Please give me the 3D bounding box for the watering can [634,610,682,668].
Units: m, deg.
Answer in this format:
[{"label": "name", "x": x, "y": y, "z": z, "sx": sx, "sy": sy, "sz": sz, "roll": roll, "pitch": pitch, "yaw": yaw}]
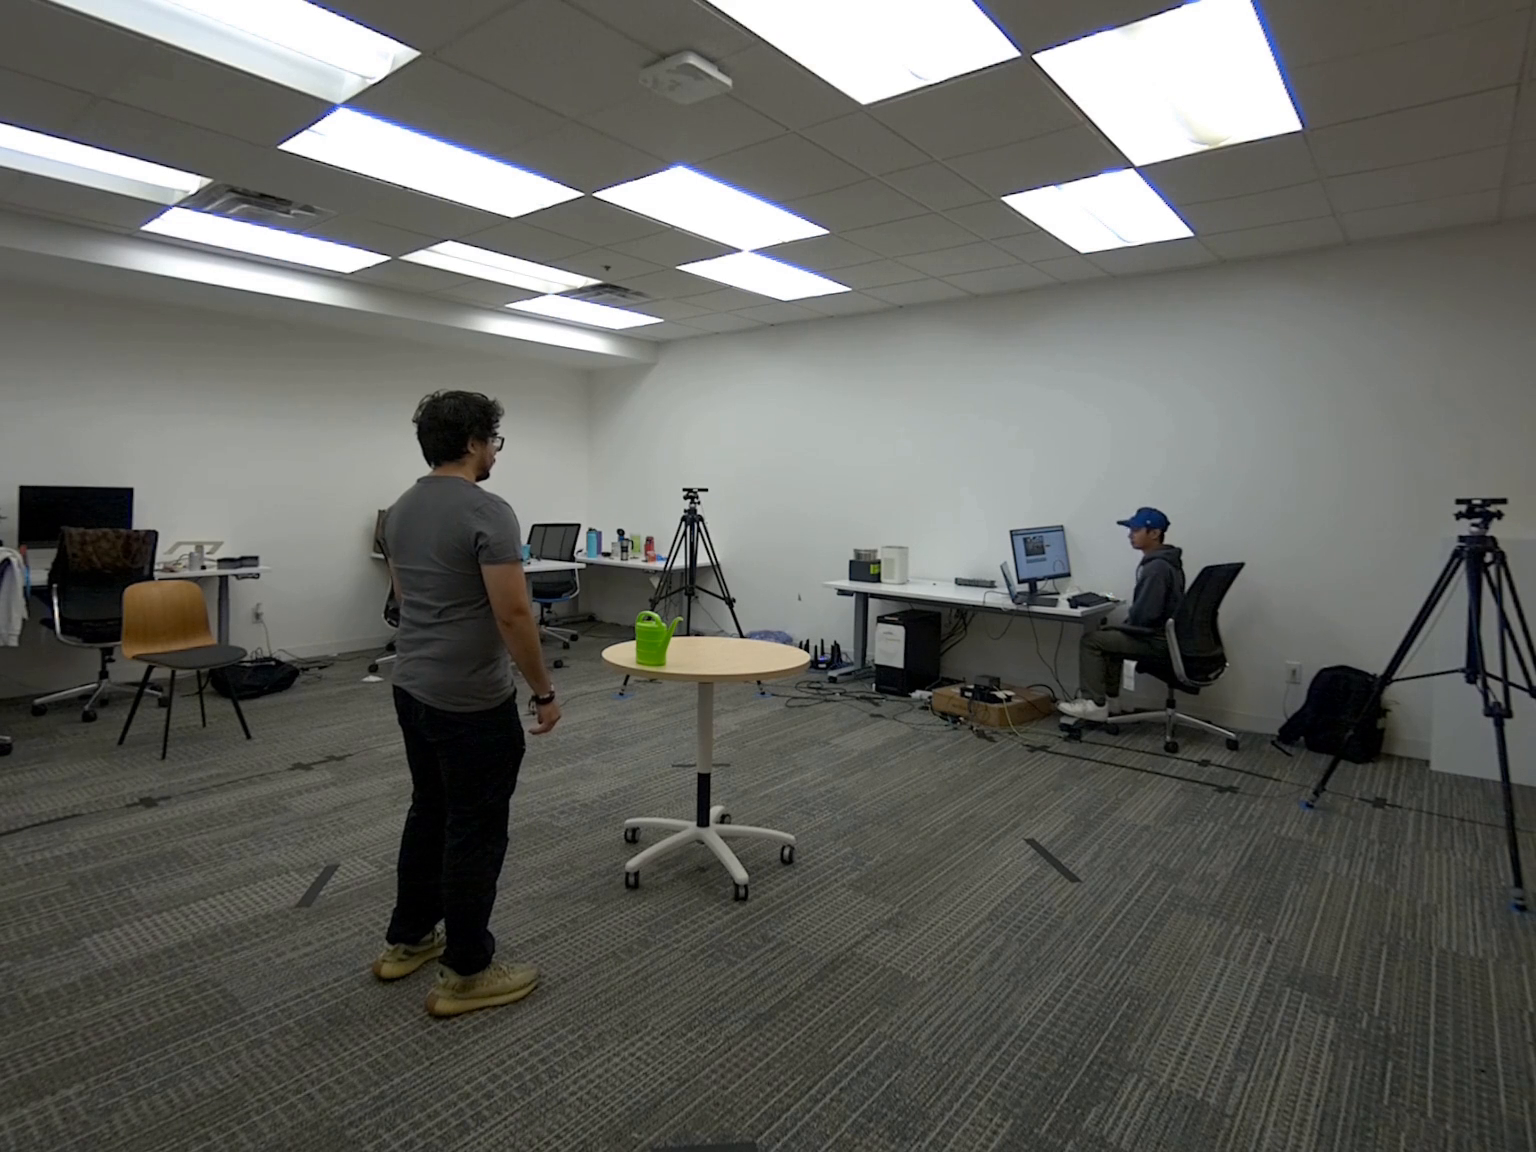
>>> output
[{"label": "watering can", "x": -0.390, "y": 0.214, "z": 2.893, "sx": 0.096, "sy": 0.176, "sz": 0.285, "roll": 0, "pitch": 3, "yaw": -24}]
